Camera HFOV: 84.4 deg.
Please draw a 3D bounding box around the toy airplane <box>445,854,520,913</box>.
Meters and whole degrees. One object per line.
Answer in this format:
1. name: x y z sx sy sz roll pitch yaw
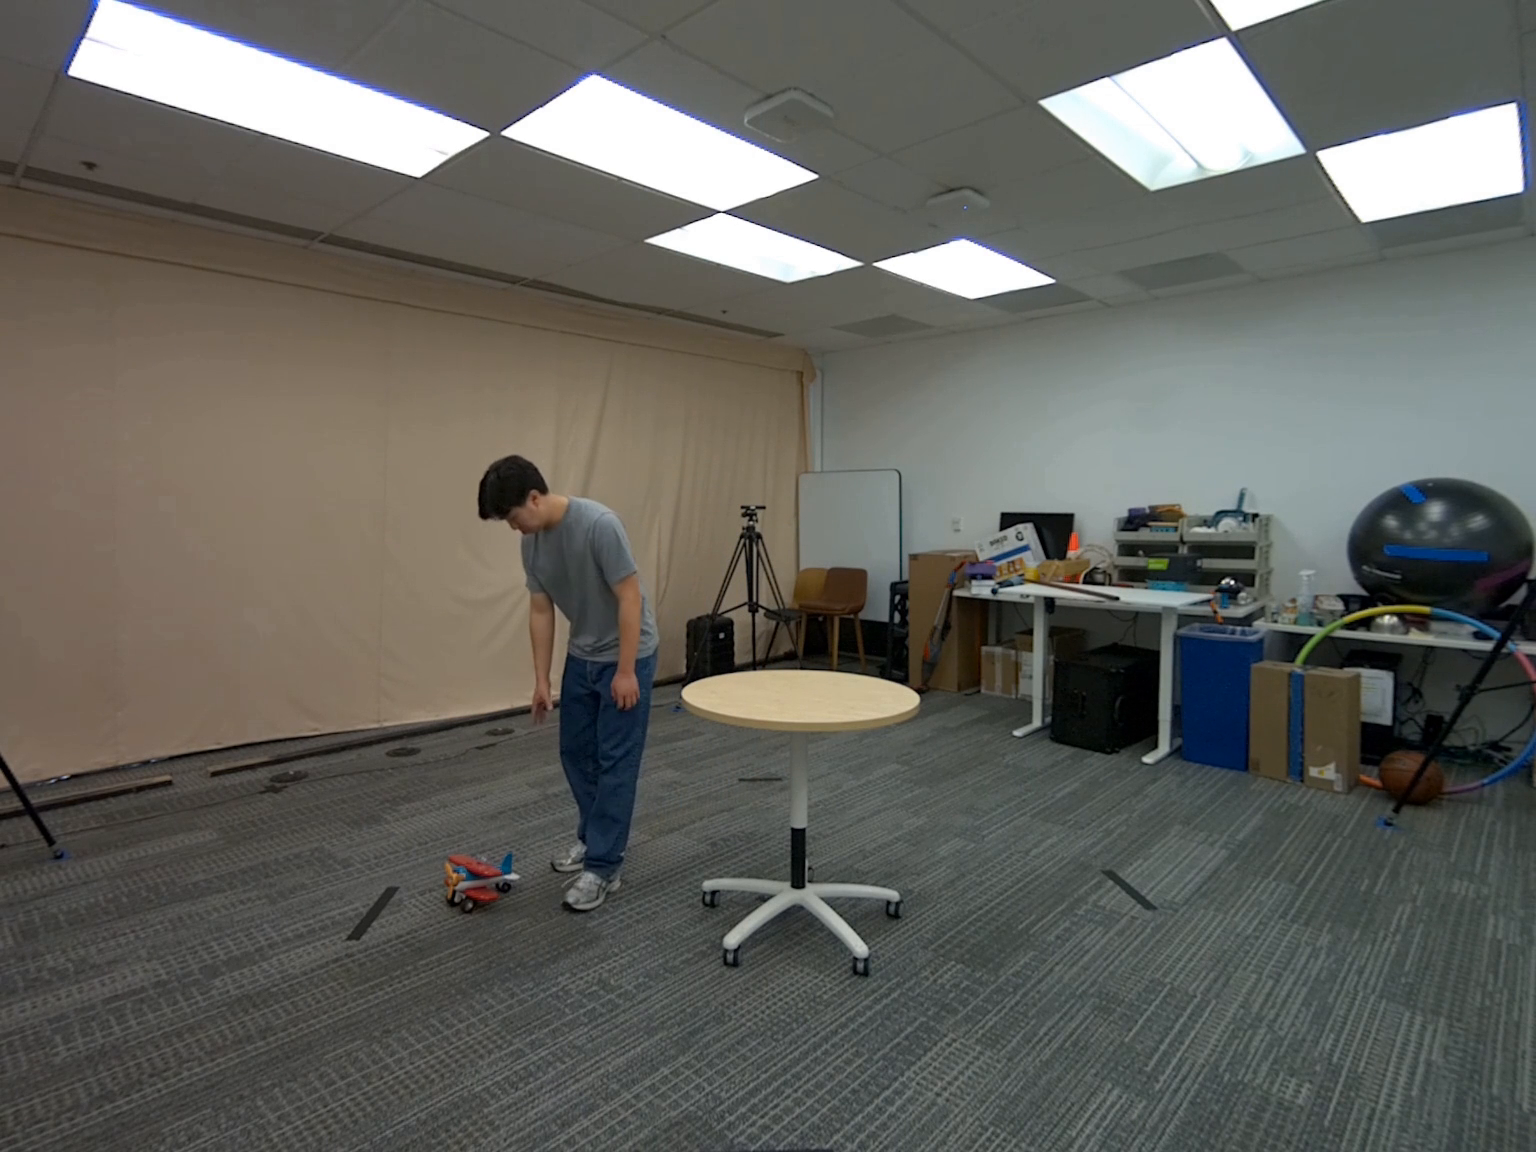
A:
1. toy airplane: -1.032 1.077 2.992 0.254 0.156 0.257 0 5 9
